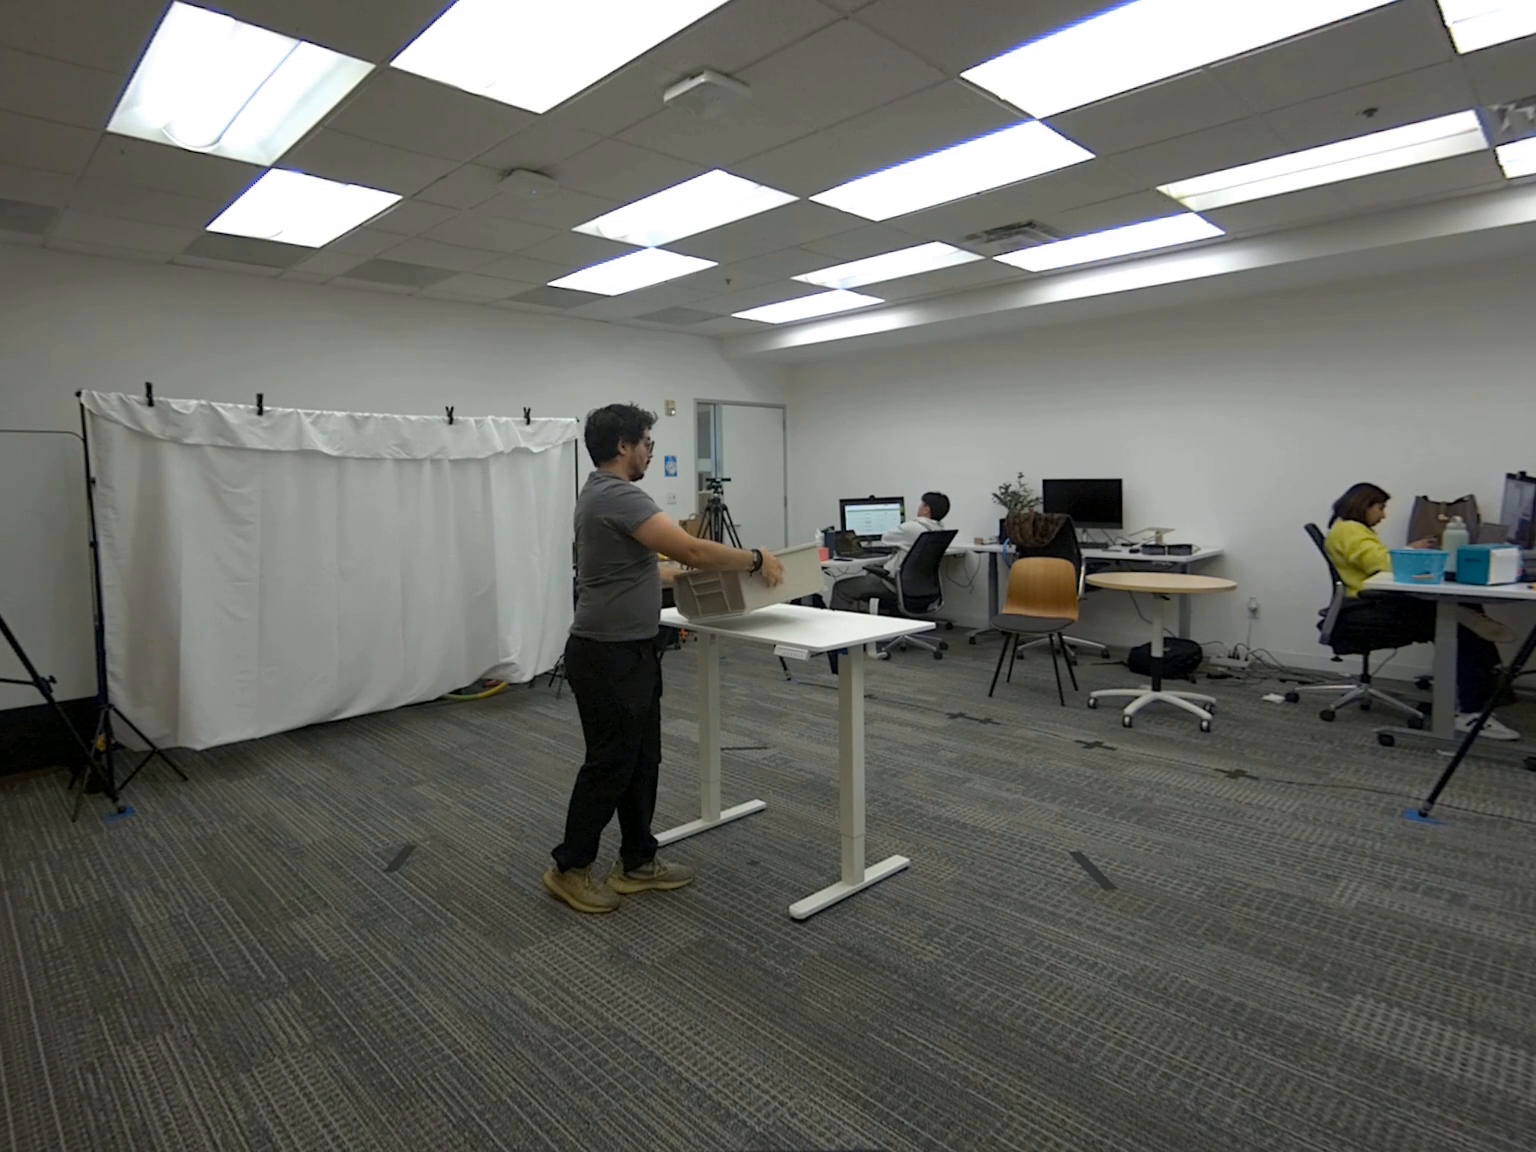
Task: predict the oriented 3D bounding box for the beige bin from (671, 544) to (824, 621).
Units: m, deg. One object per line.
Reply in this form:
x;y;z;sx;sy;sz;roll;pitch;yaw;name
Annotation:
-0.068;0.027;3.060;0.413;0.189;0.386;-13;3;-41;beige bin
